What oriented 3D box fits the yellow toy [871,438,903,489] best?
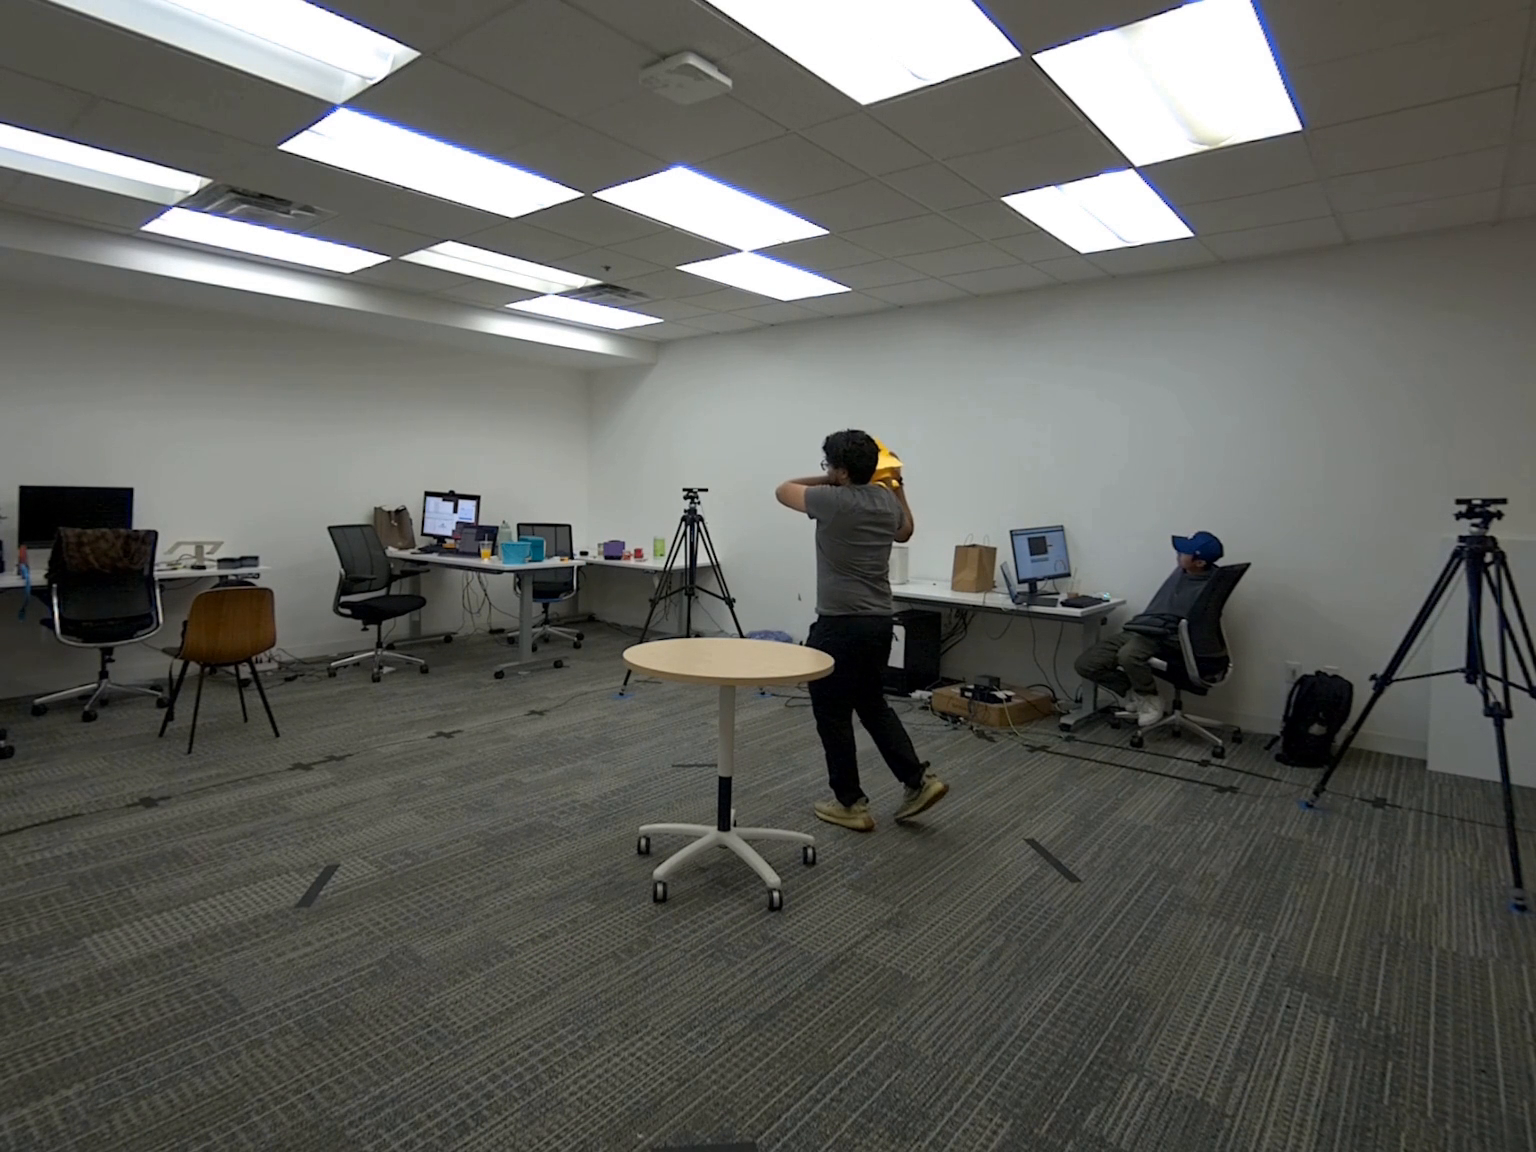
[{"bbox_3d":[0.440,-0.477,3.666,0.200,0.232,0.196,-12,-6,-41],"label":"yellow toy"}]
